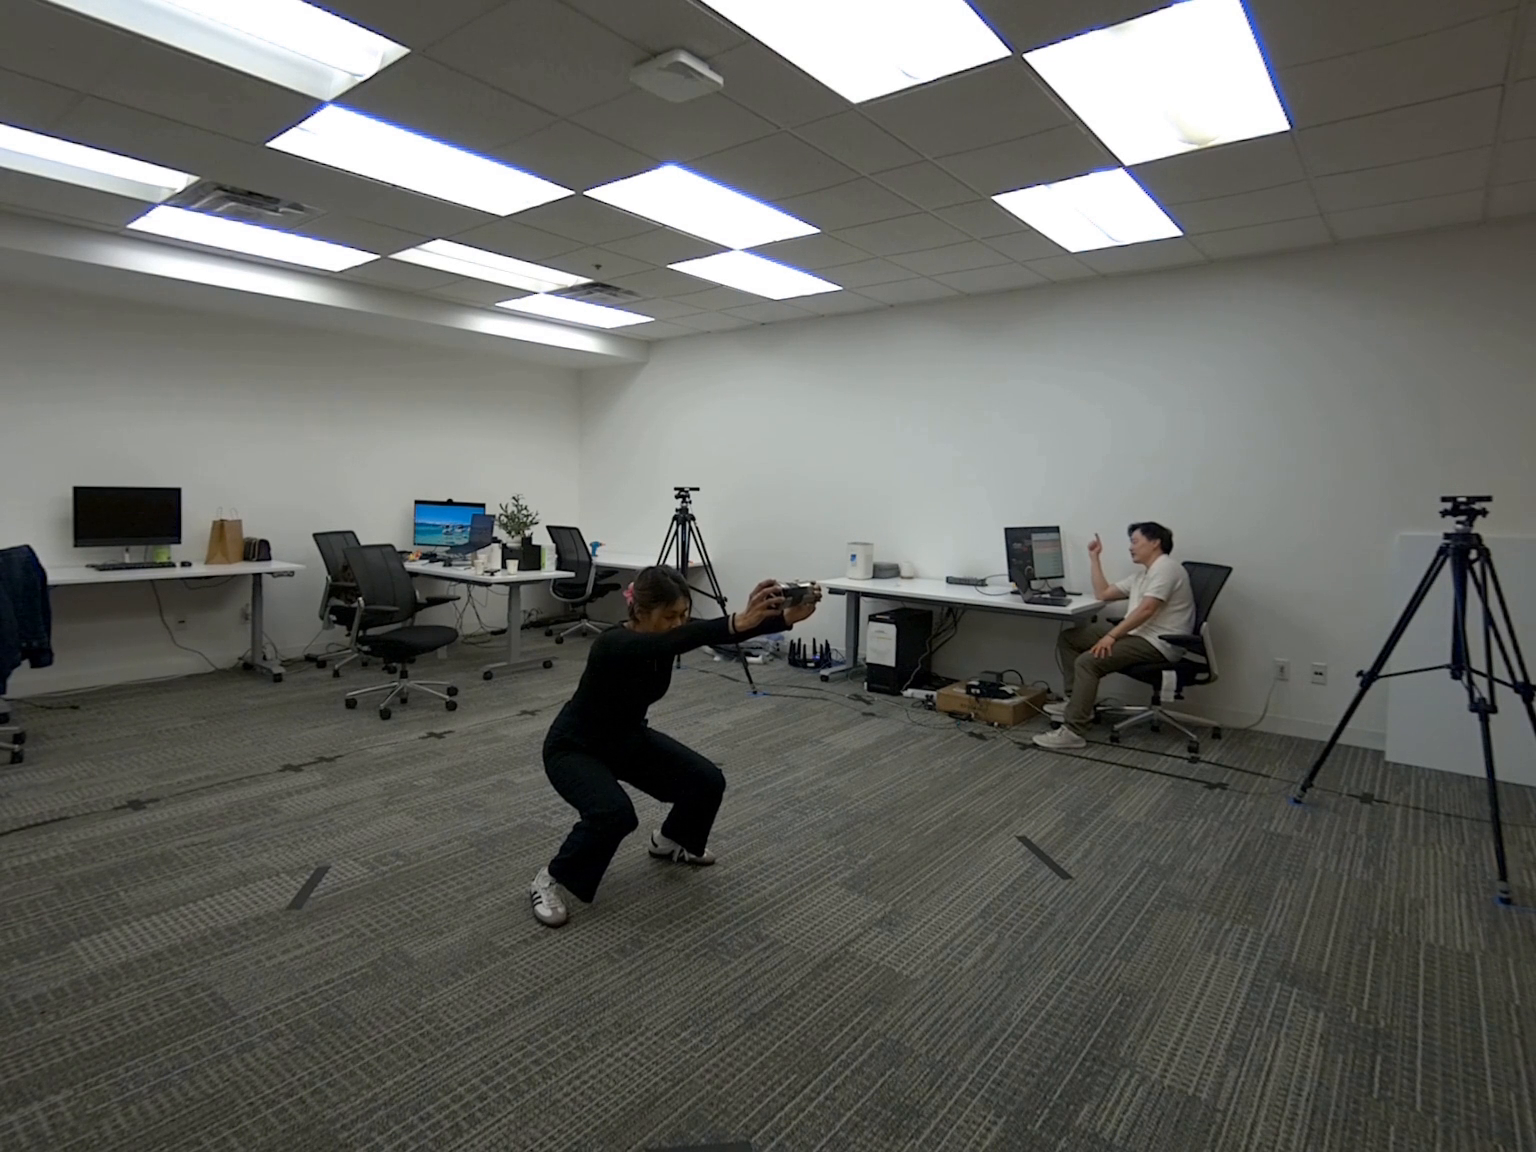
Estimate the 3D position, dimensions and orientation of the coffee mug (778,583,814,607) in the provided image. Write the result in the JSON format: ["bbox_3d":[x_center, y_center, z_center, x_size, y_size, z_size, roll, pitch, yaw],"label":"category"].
[{"bbox_3d":[0.050,0.061,2.417,0.197,0.087,0.126,-2,11,-43],"label":"coffee mug"}]
